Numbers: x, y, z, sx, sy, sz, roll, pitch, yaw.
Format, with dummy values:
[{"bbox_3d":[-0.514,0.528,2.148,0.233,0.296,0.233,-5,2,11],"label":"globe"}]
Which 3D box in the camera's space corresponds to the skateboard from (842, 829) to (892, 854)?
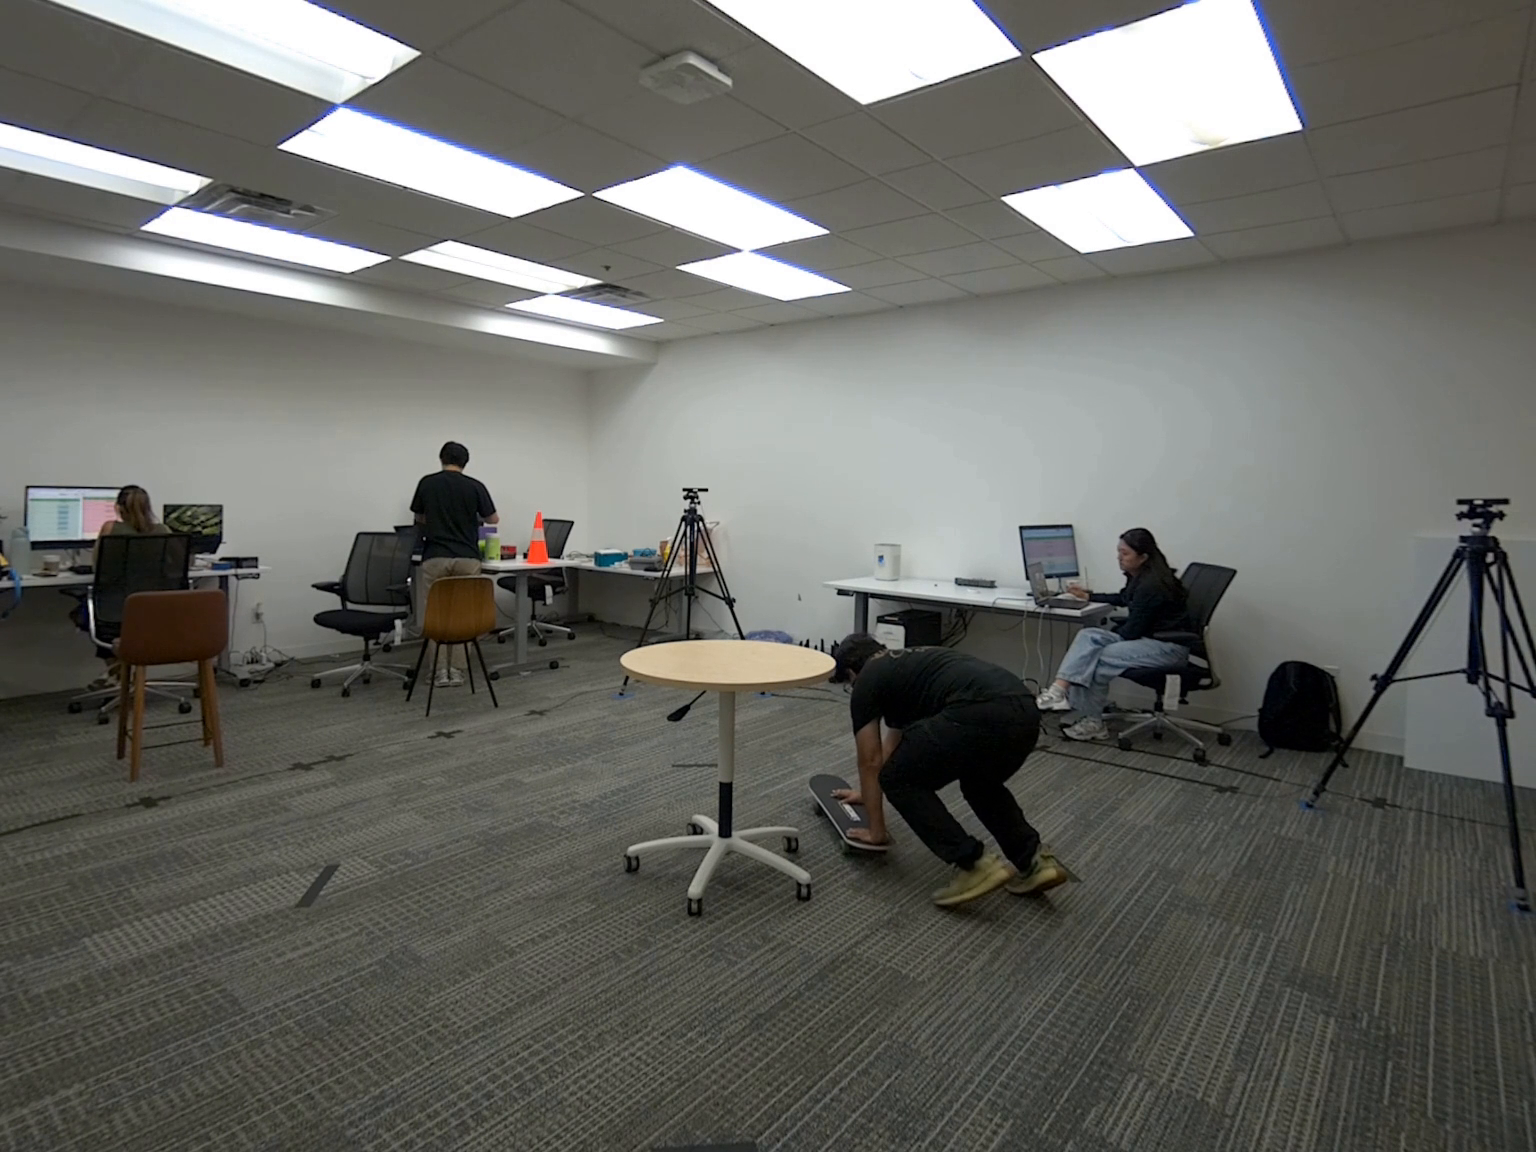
[{"bbox_3d":[0.318,0.982,3.484,0.191,0.110,0.796,2,6,-10],"label":"skateboard"}]
